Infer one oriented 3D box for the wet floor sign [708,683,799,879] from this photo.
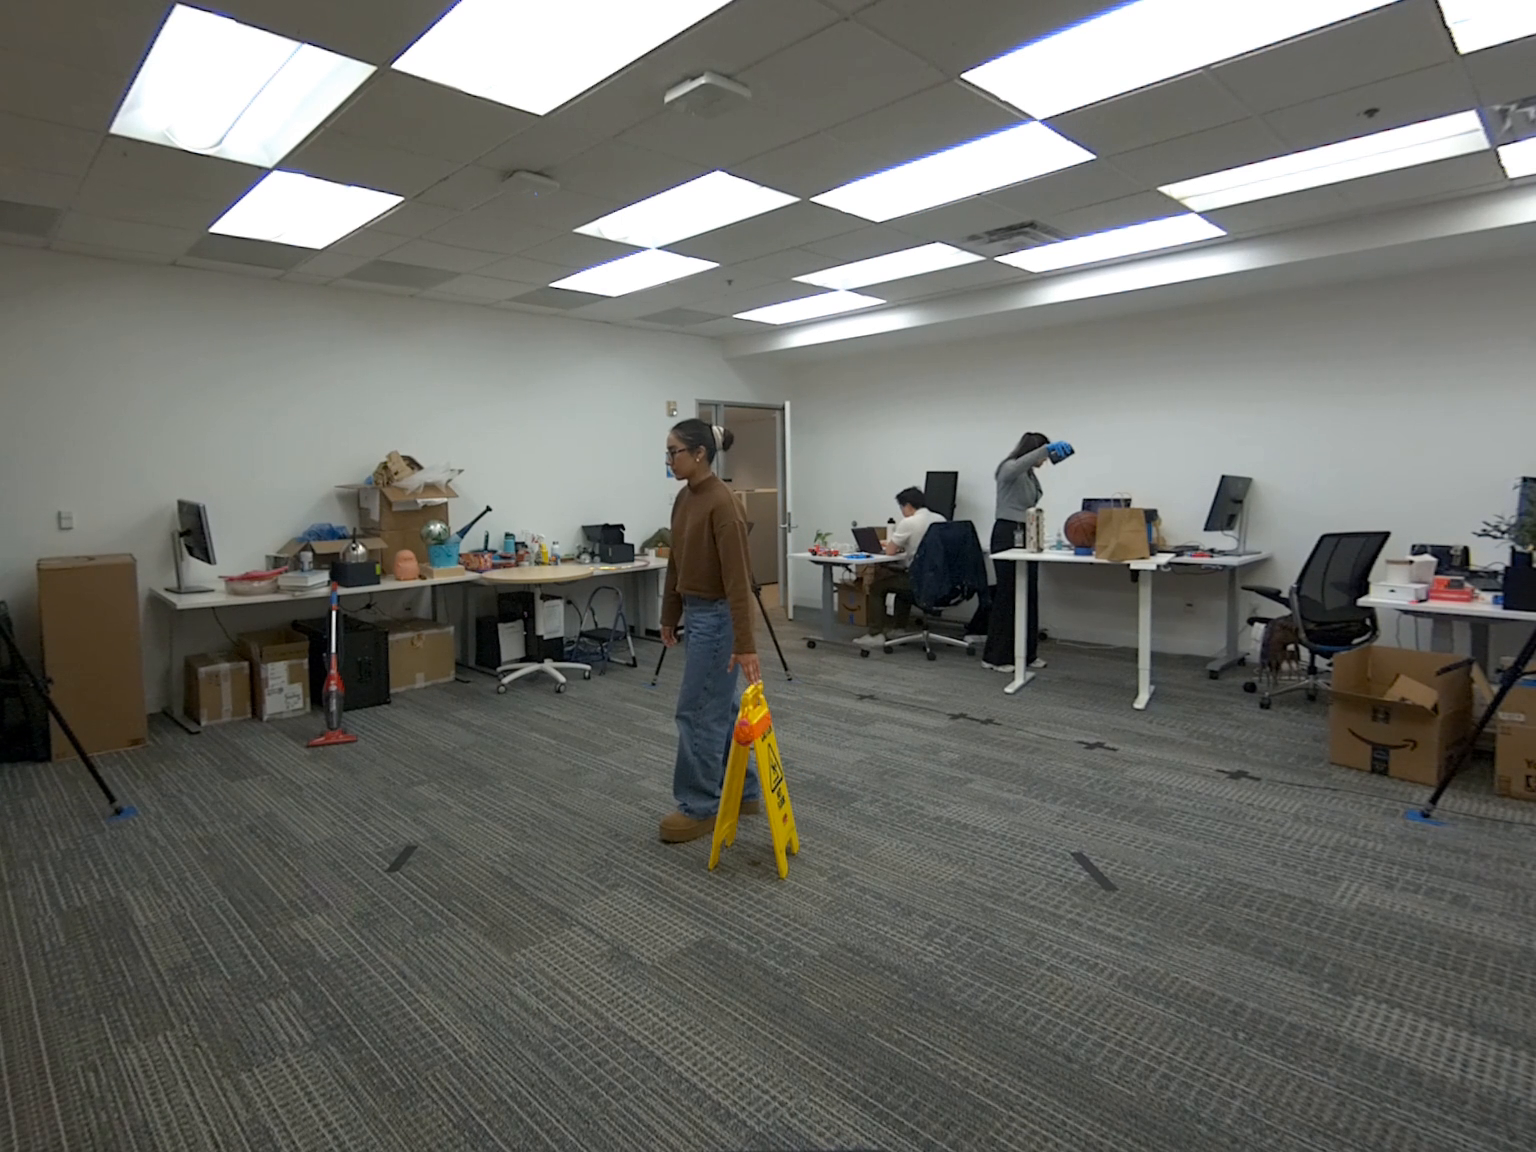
[{"bbox_3d":[-0.055,0.718,3.131,0.294,0.644,0.278,0,3,16],"label":"wet floor sign"}]
